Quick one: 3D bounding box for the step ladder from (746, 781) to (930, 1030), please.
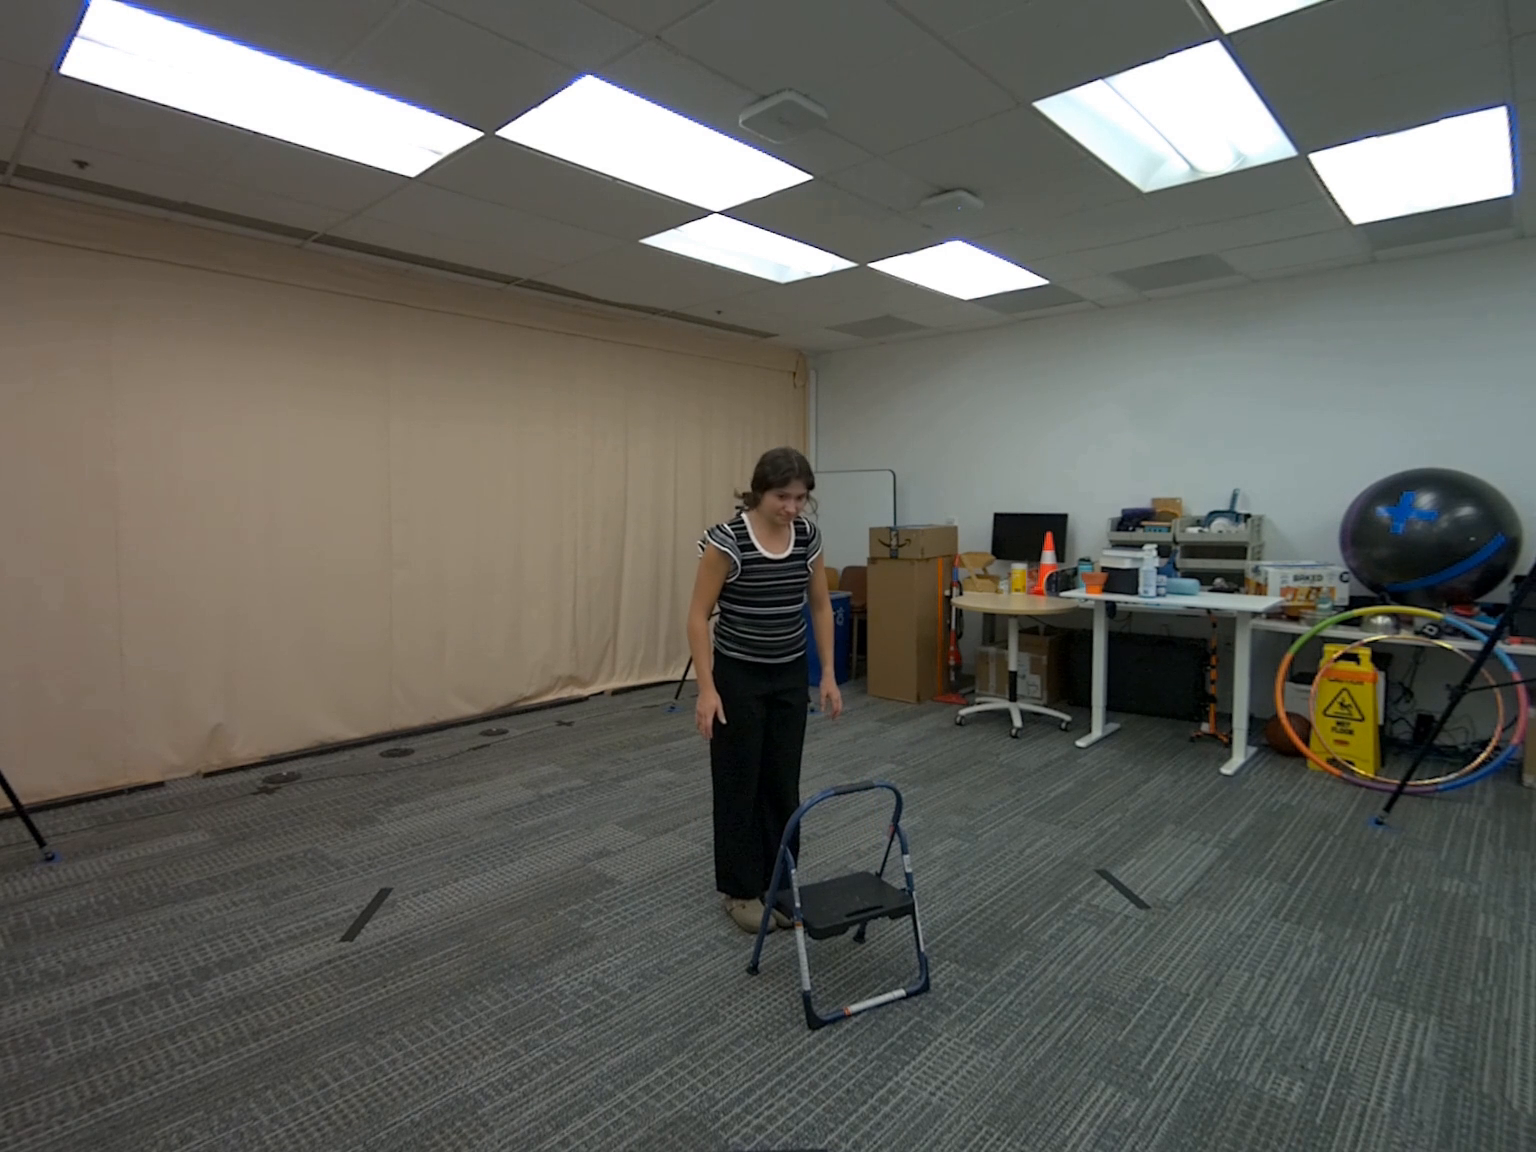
[{"bbox_3d":[0.212,0.886,2.458,0.419,0.605,0.359,-2,4,-30],"label":"step ladder"}]
